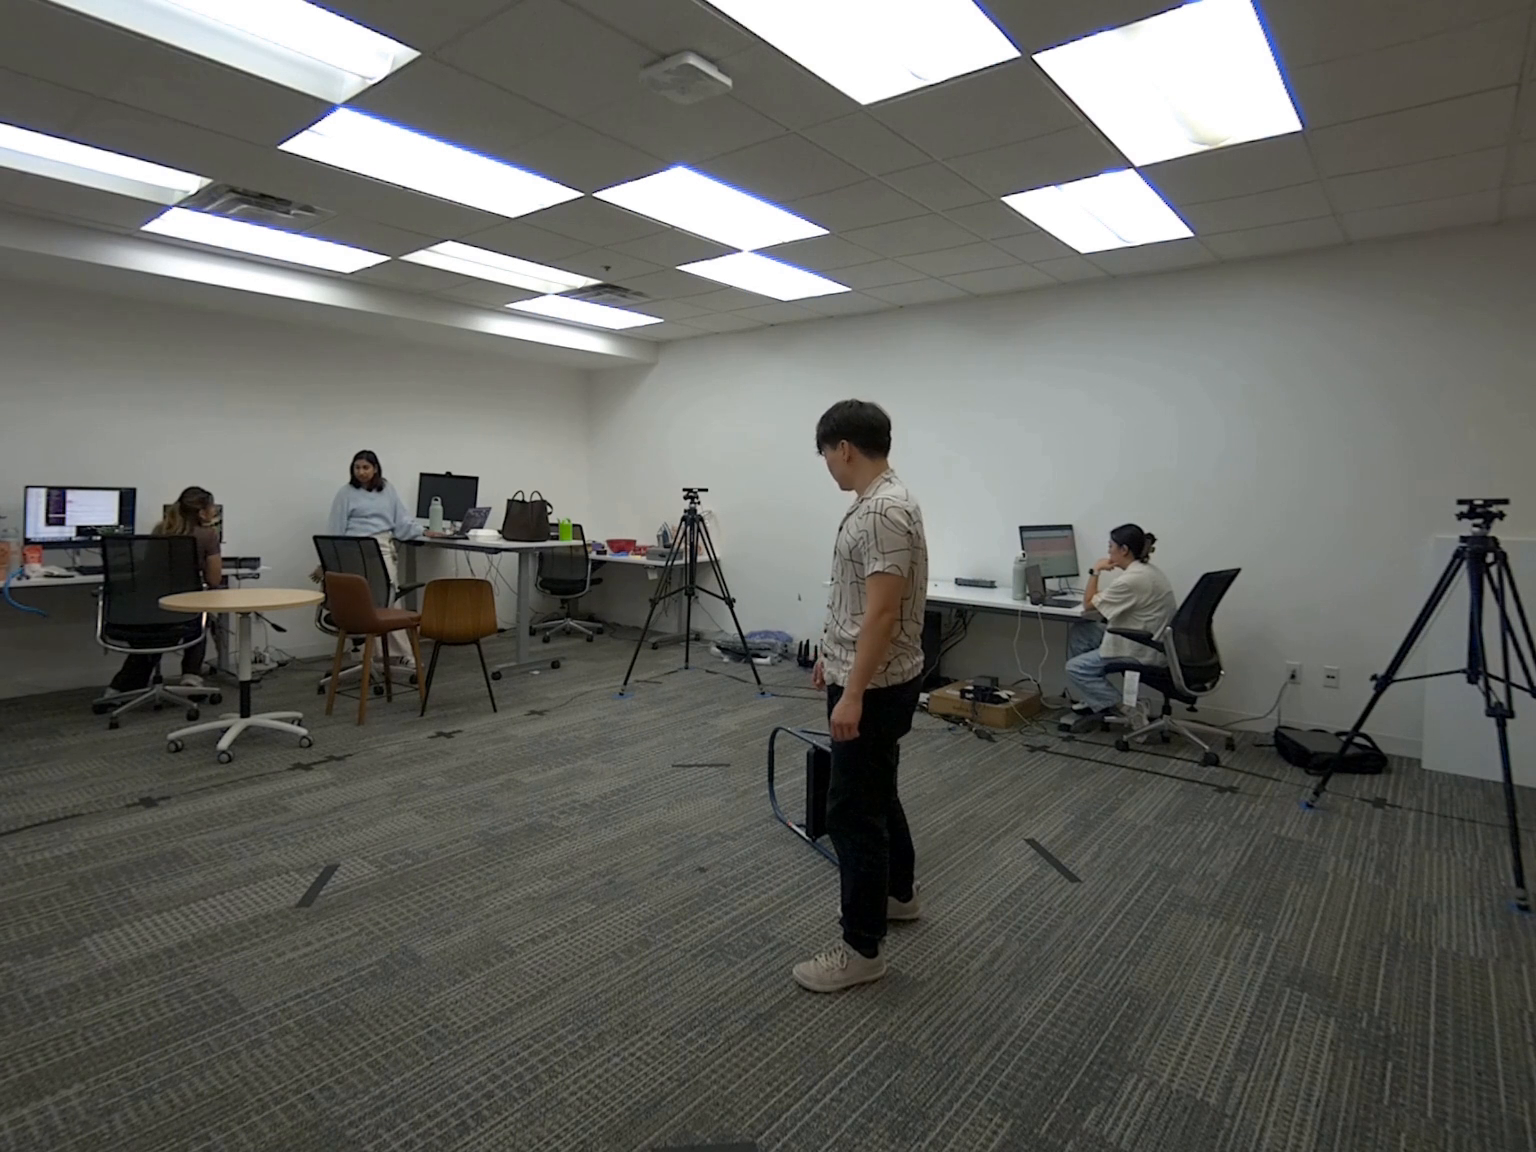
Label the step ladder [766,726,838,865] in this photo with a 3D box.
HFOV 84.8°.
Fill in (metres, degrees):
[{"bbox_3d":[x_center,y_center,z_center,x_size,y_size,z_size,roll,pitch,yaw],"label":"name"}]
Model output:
[{"bbox_3d":[0.168,0.836,3.420,0.627,0.430,0.338,5,4,44],"label":"step ladder"}]
